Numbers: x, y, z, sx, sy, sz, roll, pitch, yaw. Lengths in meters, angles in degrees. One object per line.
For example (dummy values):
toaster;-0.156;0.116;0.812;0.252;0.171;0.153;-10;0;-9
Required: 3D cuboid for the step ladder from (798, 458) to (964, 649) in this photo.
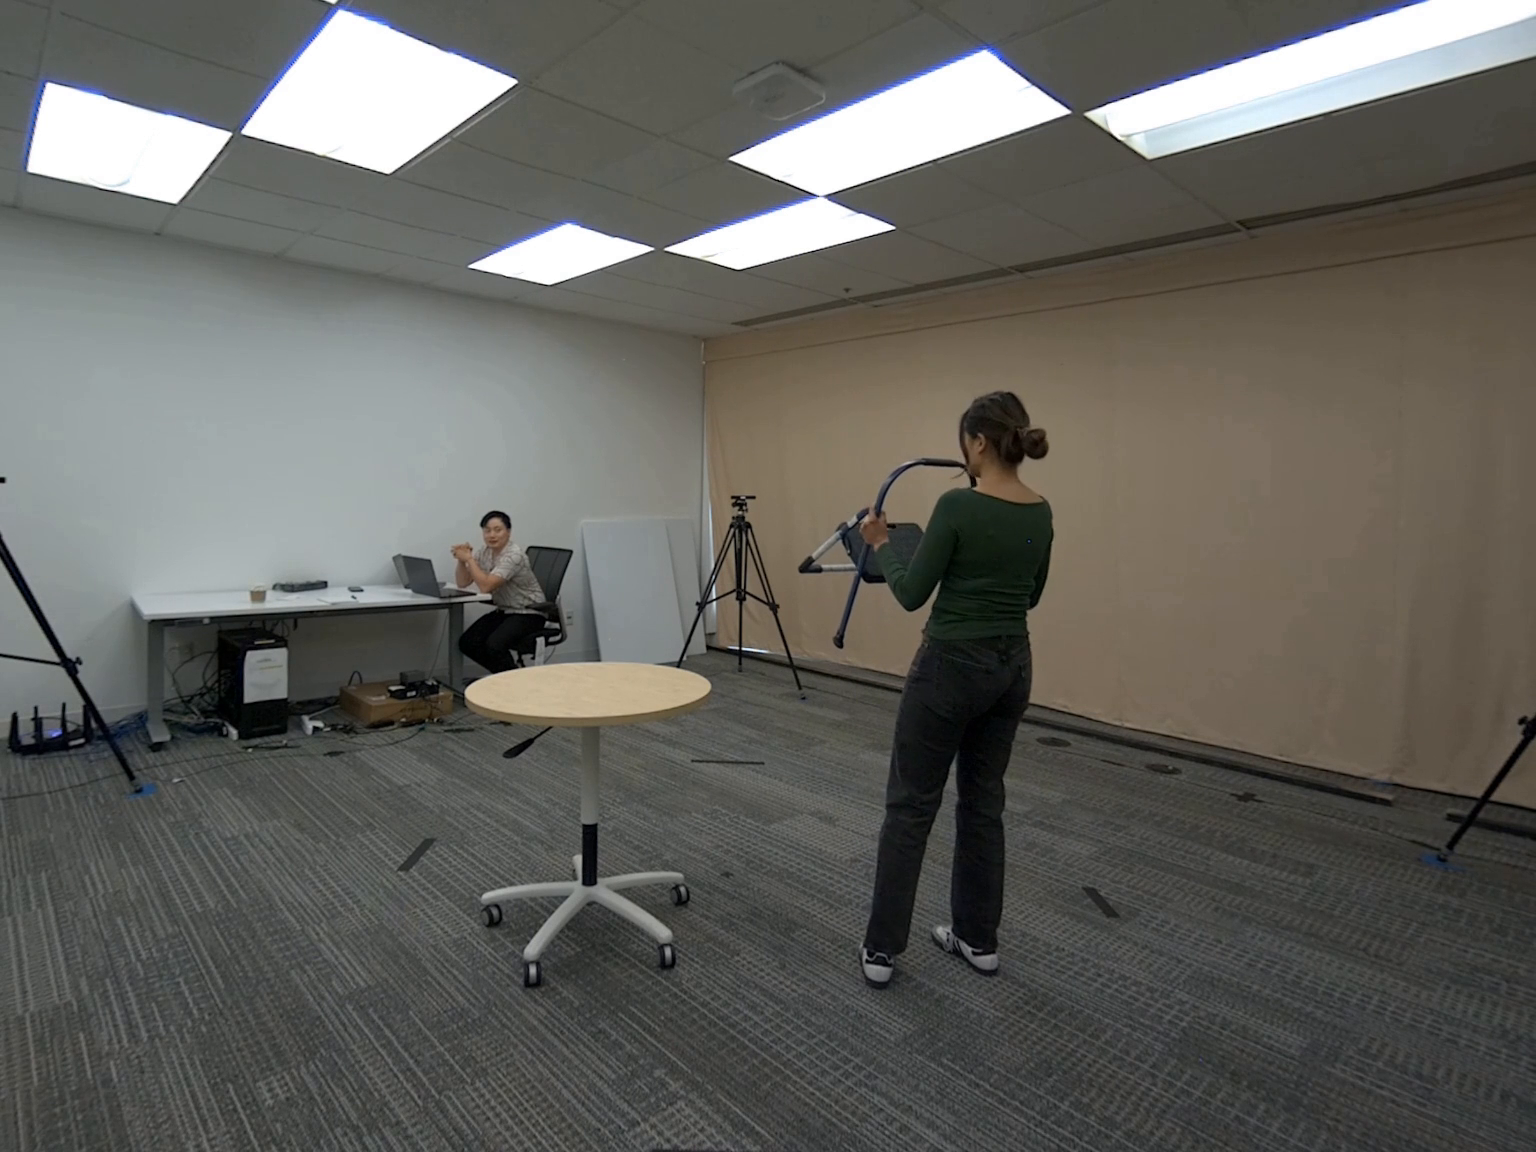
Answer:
step ladder;0.447;-0.102;2.781;0.421;0.601;0.359;-1;48;-33
